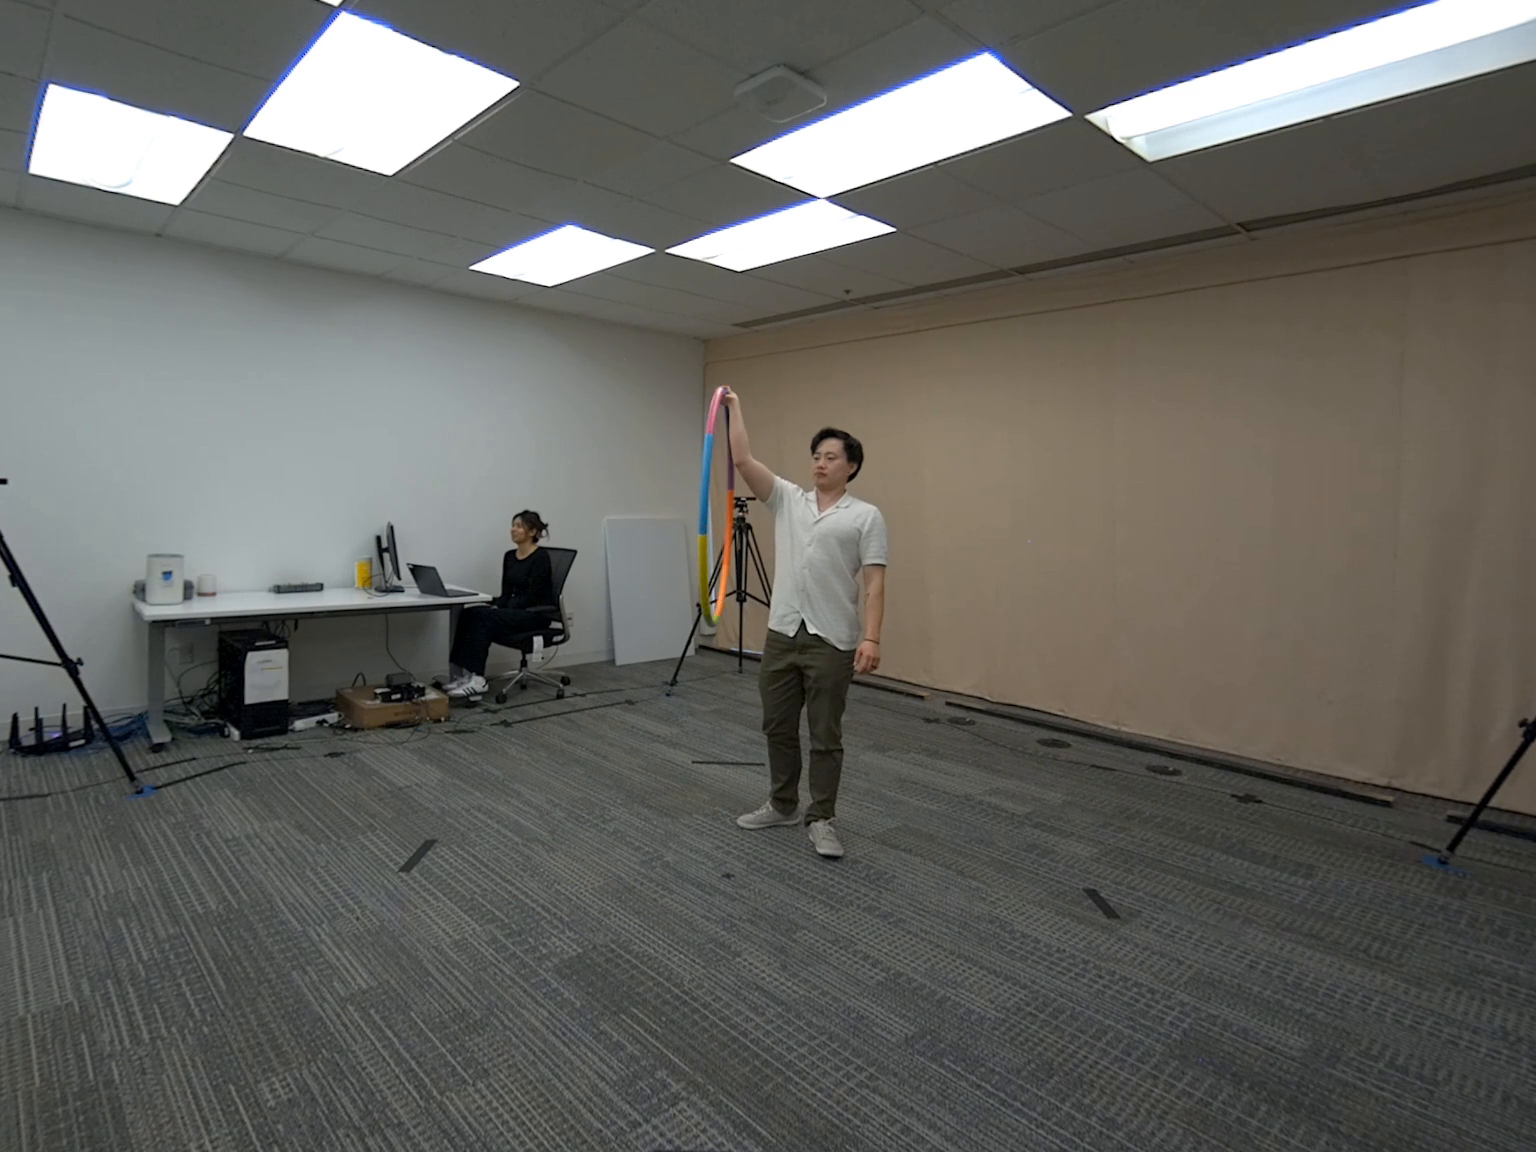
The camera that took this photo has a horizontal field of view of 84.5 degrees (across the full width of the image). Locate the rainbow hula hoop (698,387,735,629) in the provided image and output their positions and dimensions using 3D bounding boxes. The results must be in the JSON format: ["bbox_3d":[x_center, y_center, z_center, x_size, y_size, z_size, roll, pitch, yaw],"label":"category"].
[{"bbox_3d":[-0.205,-0.280,3.500,0.036,0.976,0.977,2,4,3],"label":"rainbow hula hoop"}]
